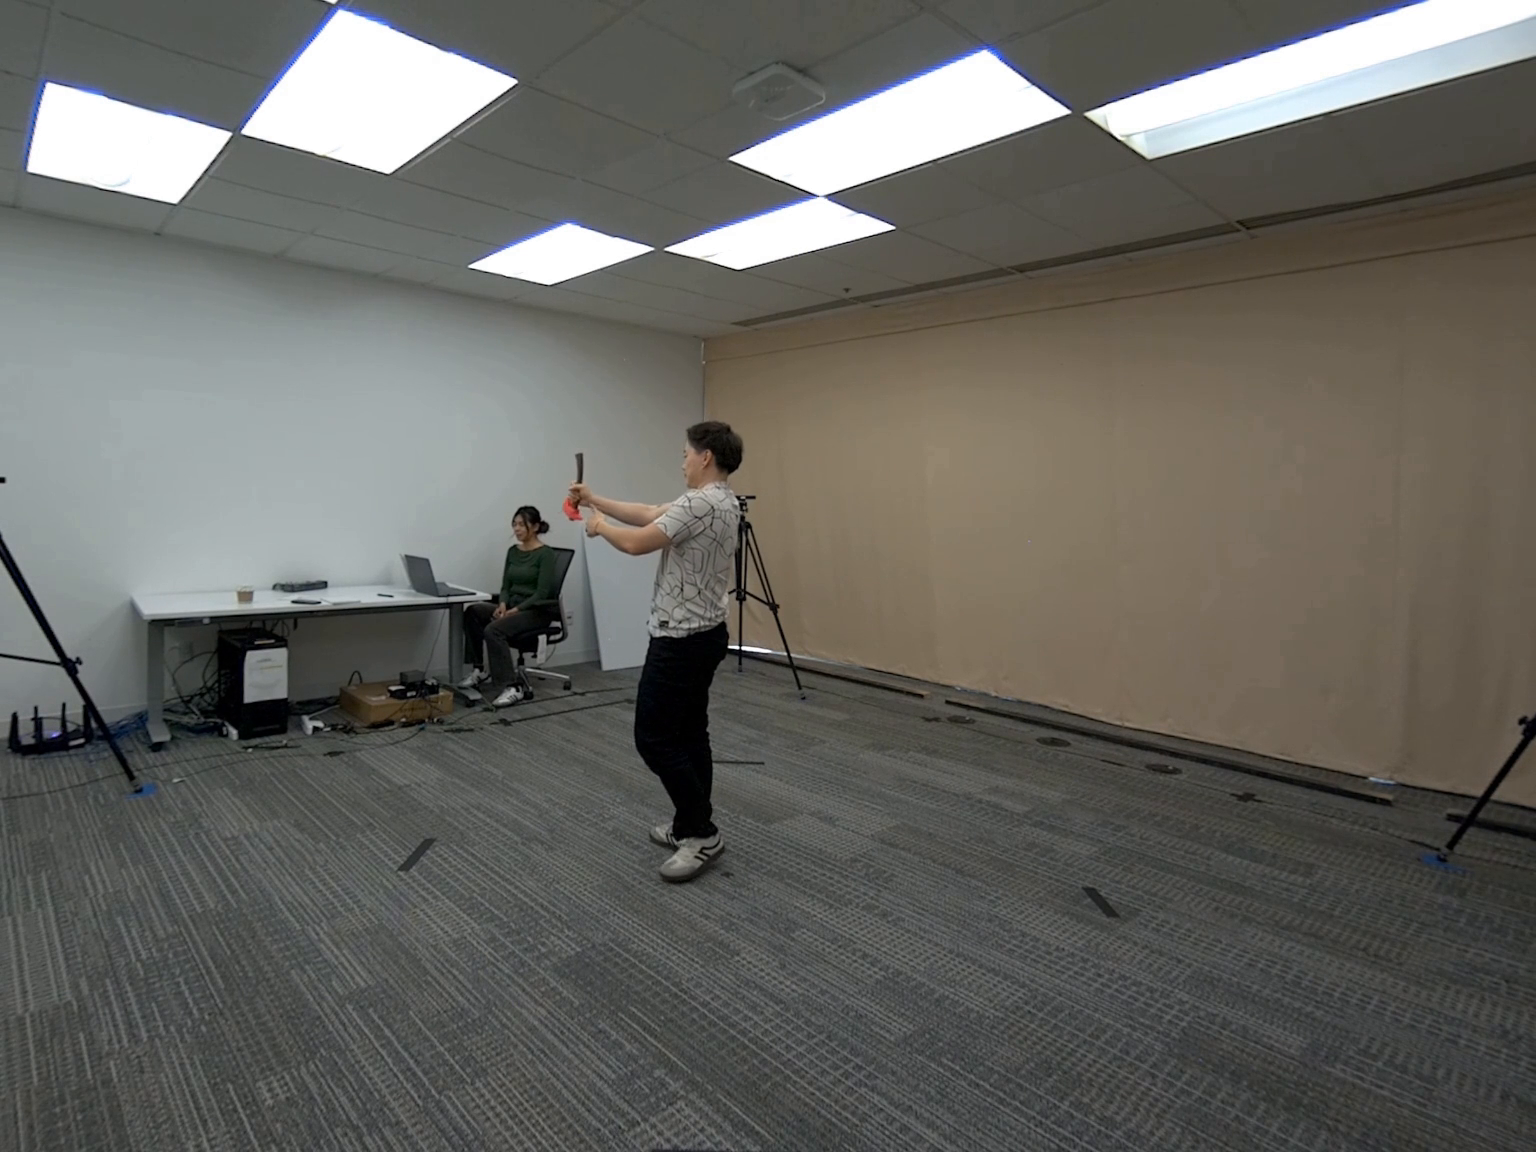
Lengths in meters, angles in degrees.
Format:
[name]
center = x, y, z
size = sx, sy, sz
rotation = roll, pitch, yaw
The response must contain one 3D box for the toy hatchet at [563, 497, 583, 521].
[toy hatchet]
center = -0.780, -0.354, 3.365
size = 0.029, 0.269, 0.134
rotation = -1, 4, -43
